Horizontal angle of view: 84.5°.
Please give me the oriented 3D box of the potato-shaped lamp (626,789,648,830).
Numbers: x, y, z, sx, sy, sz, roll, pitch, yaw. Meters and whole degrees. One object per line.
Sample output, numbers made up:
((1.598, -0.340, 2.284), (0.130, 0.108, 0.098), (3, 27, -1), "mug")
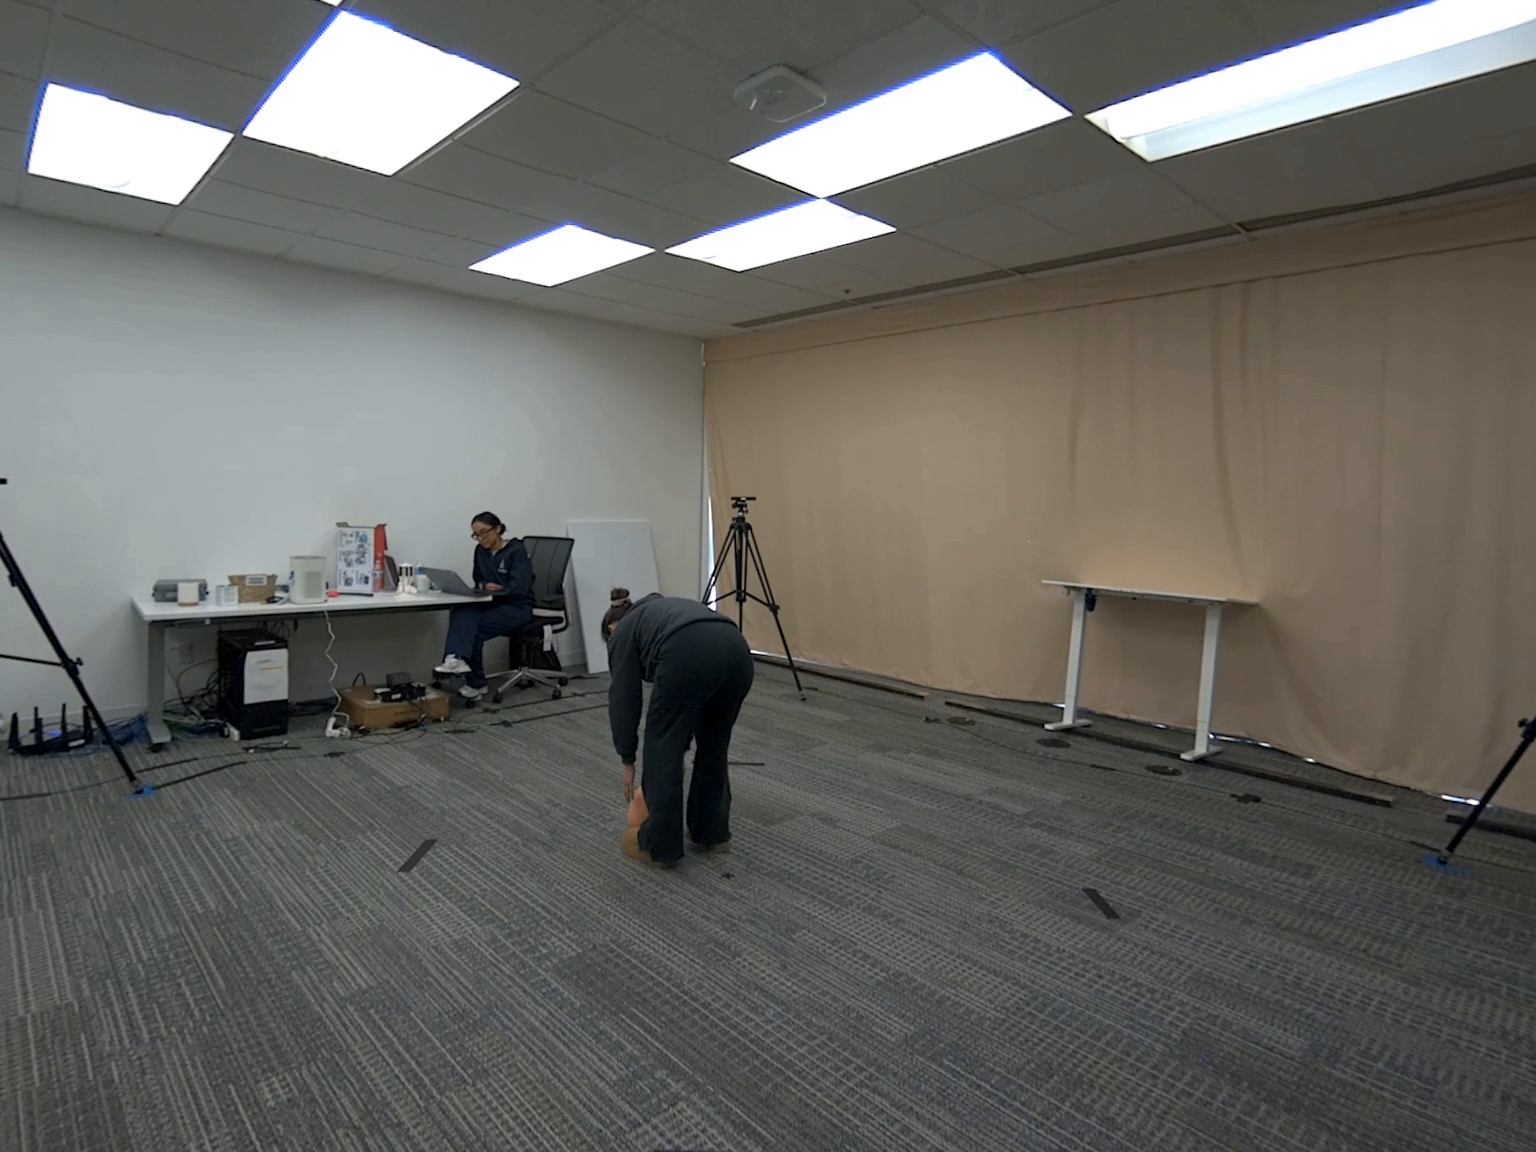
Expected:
((-0.502, 0.960, 3.513), (0.161, 0.198, 0.176), (2, 3, -41), "potato-shaped lamp")
